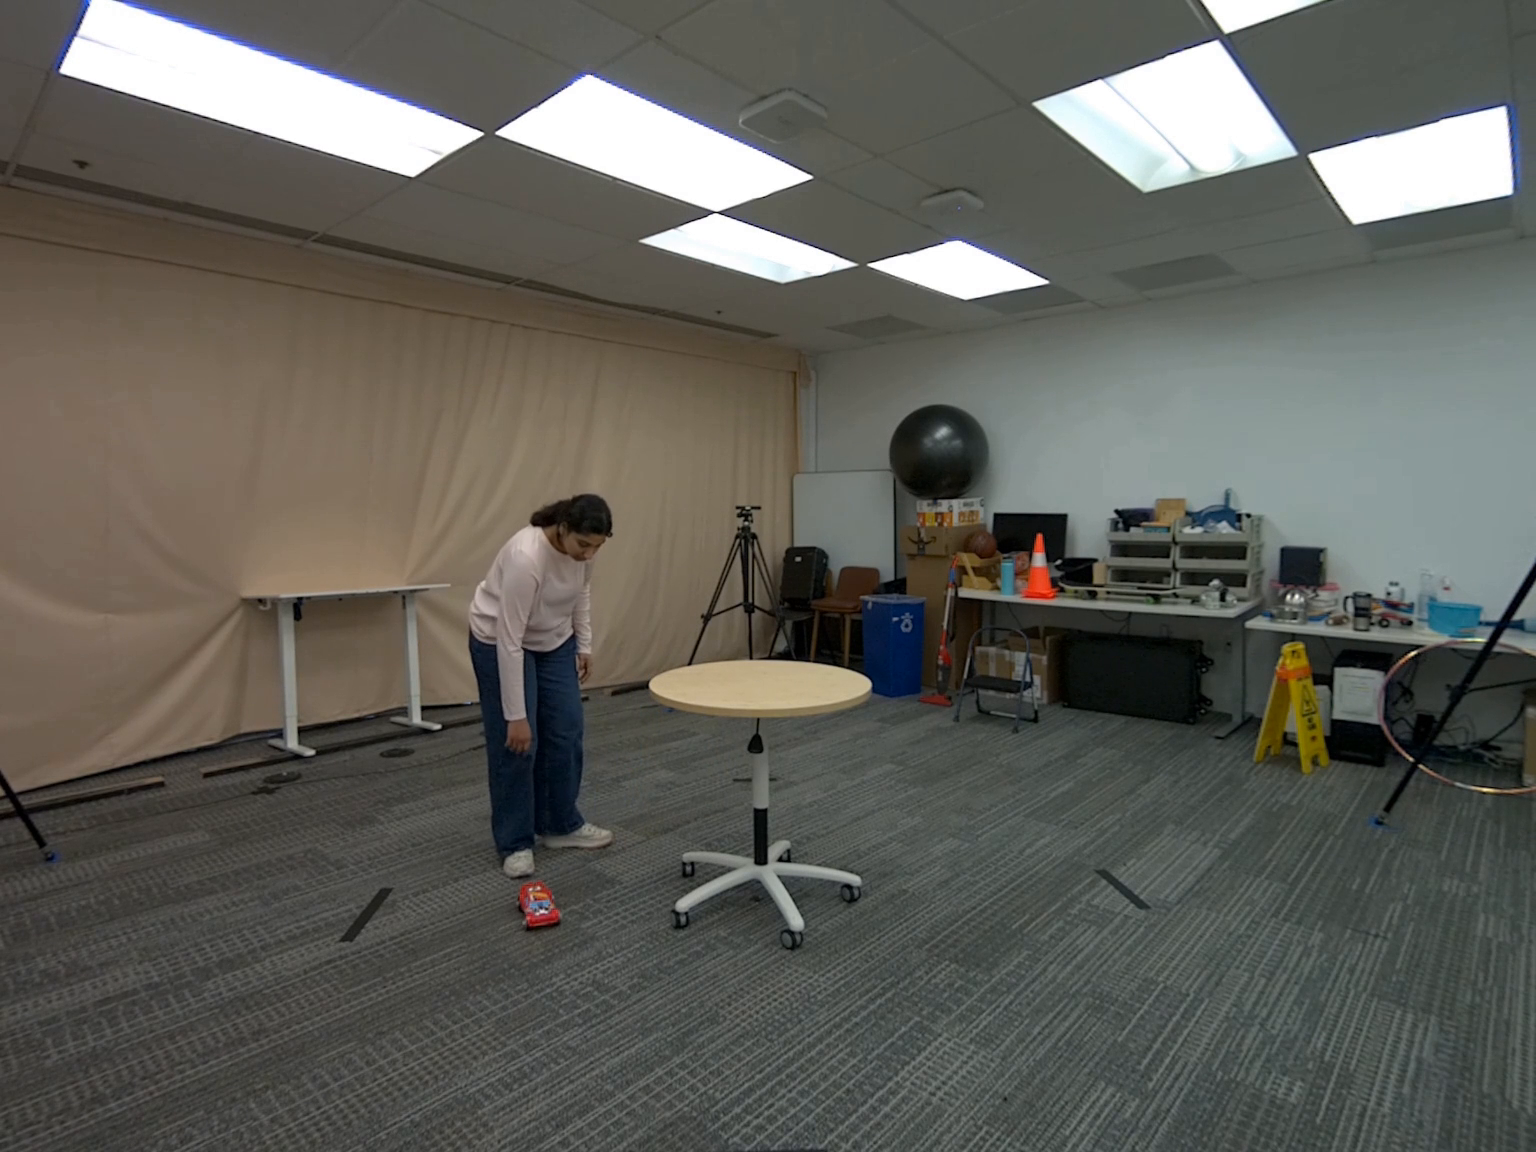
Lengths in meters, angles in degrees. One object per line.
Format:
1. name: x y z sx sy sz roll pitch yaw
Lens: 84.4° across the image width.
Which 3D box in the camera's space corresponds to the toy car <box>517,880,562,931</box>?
1. toy car: -0.792 1.130 2.877 0.127 0.082 0.262 -2 15 -24
